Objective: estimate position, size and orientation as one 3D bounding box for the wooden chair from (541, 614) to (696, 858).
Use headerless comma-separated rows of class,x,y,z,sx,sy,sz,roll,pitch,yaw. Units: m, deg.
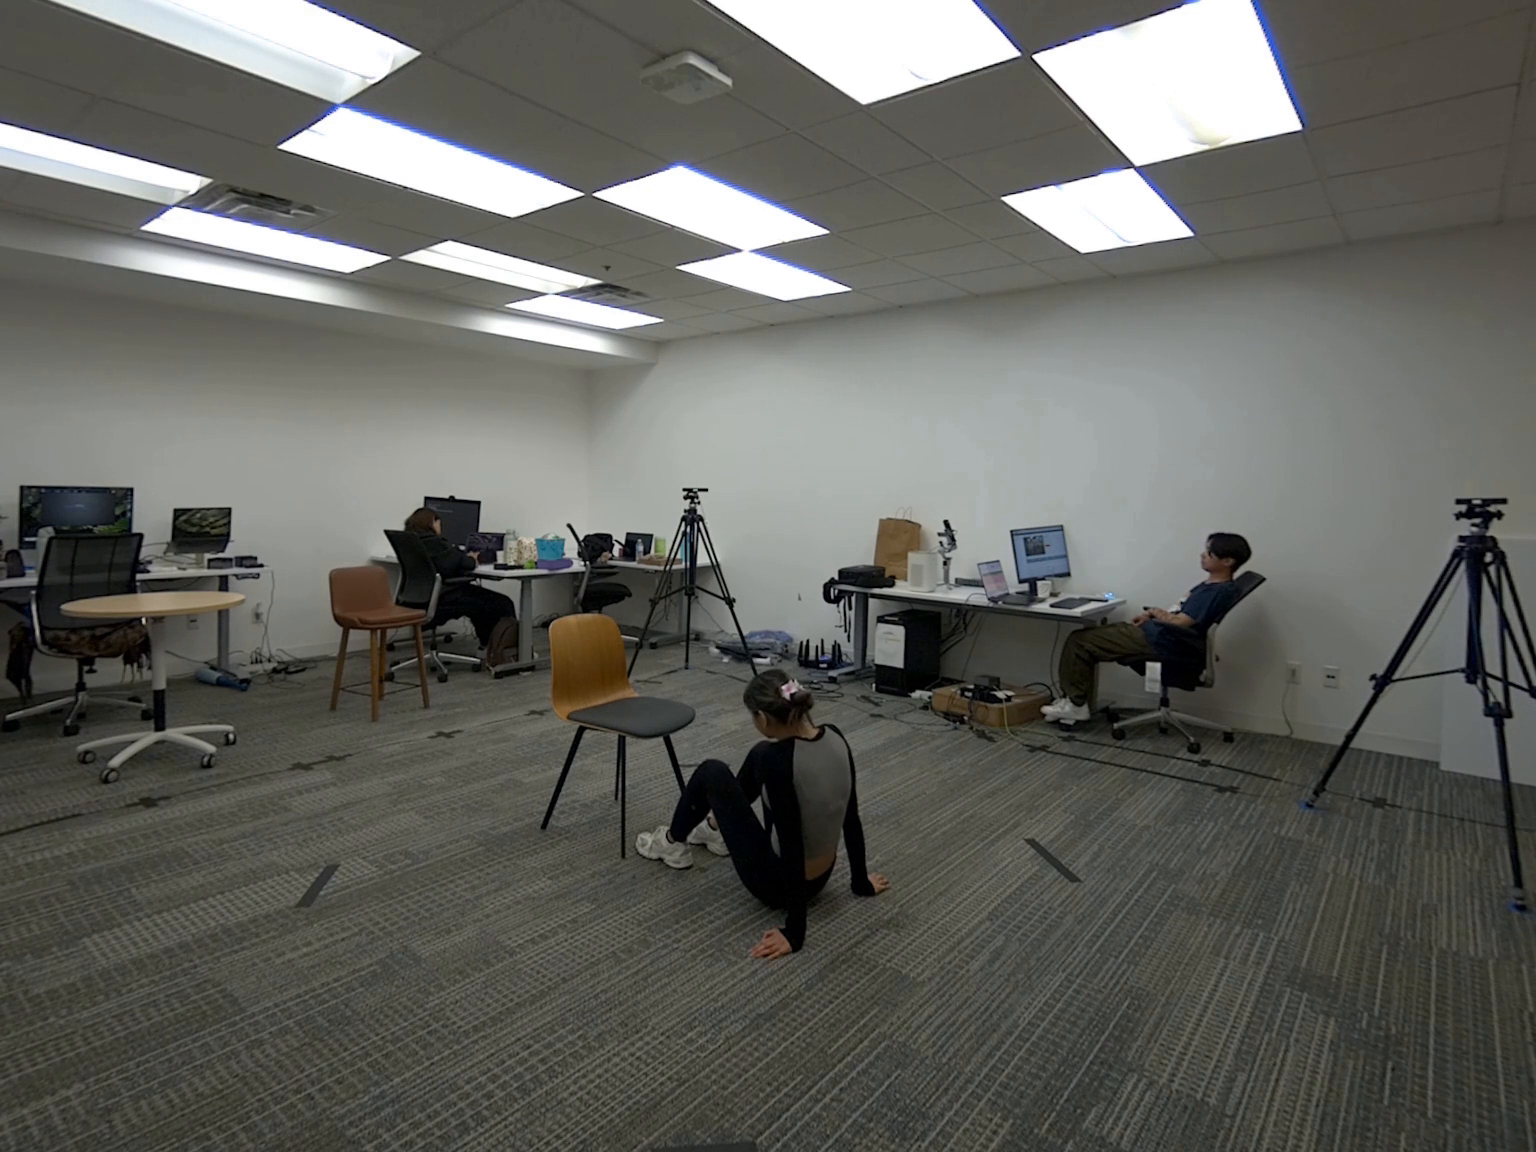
wooden chair,-0.606,0.600,3.462,0.538,0.877,0.464,-2,1,34
